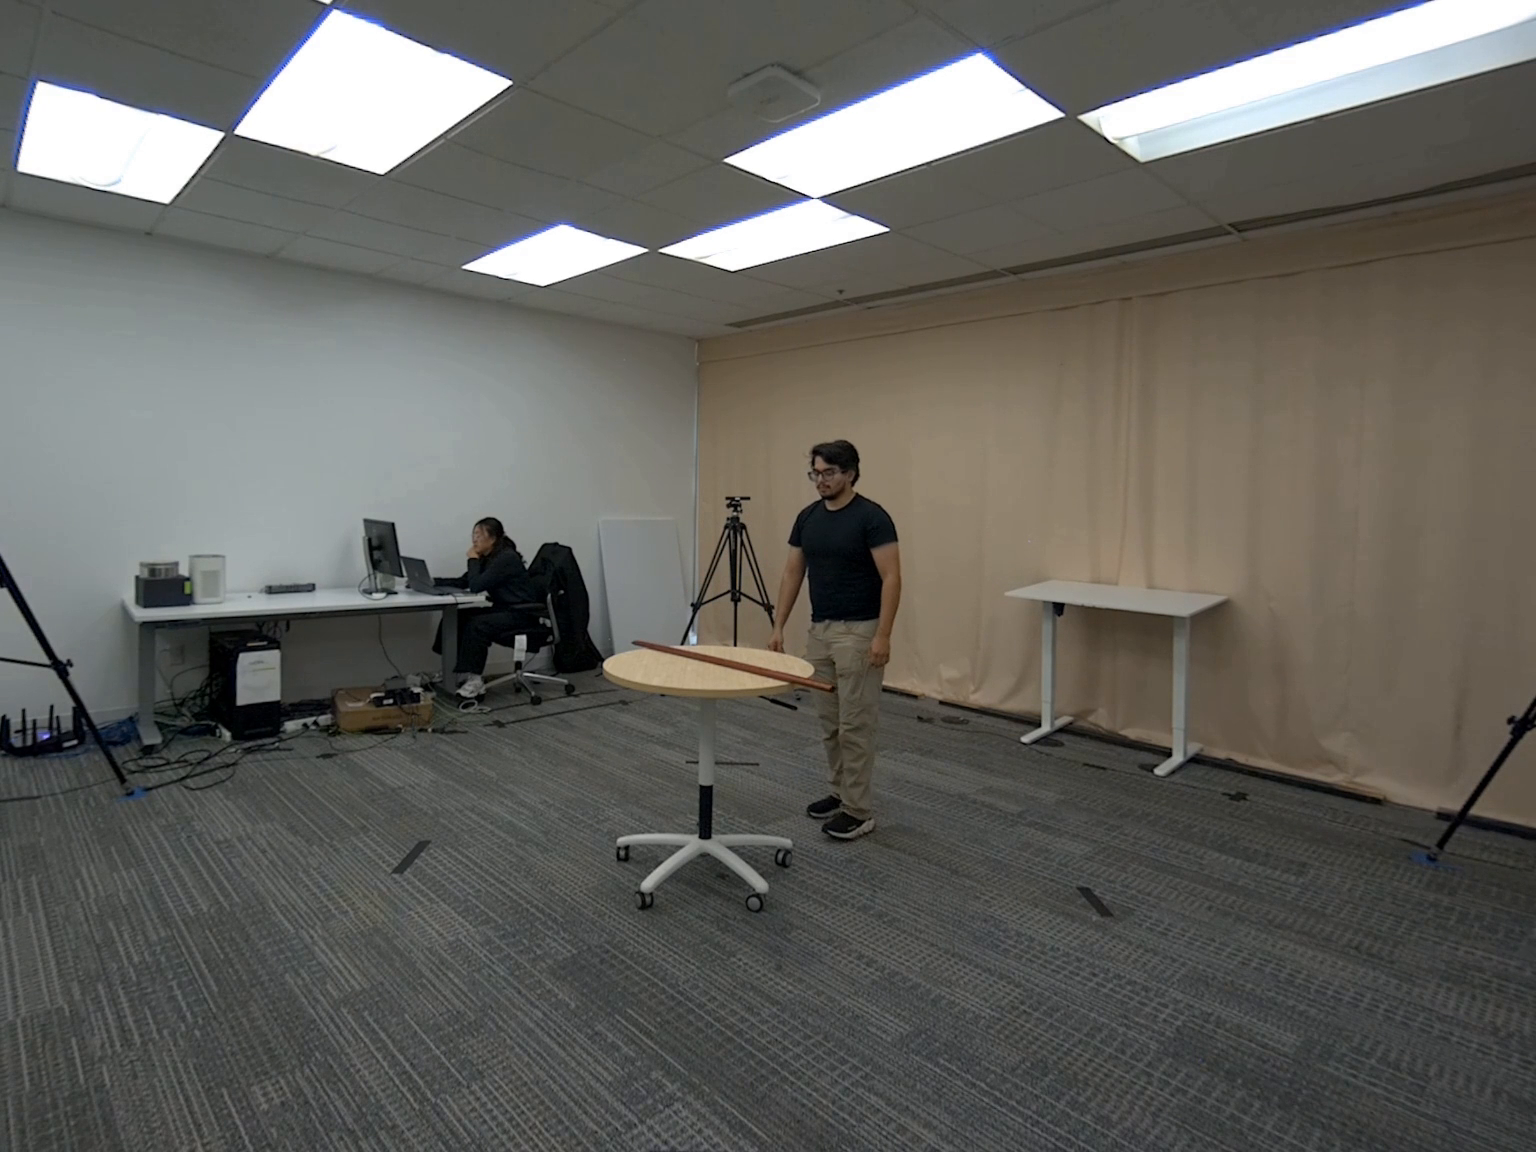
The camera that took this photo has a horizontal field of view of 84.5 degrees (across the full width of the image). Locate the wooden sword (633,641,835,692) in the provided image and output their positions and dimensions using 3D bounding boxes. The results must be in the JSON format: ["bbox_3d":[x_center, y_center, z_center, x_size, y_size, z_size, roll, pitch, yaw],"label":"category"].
[{"bbox_3d":[-0.183,0.331,3.045,1.052,0.024,0.050,8,-12,45],"label":"wooden sword"}]
